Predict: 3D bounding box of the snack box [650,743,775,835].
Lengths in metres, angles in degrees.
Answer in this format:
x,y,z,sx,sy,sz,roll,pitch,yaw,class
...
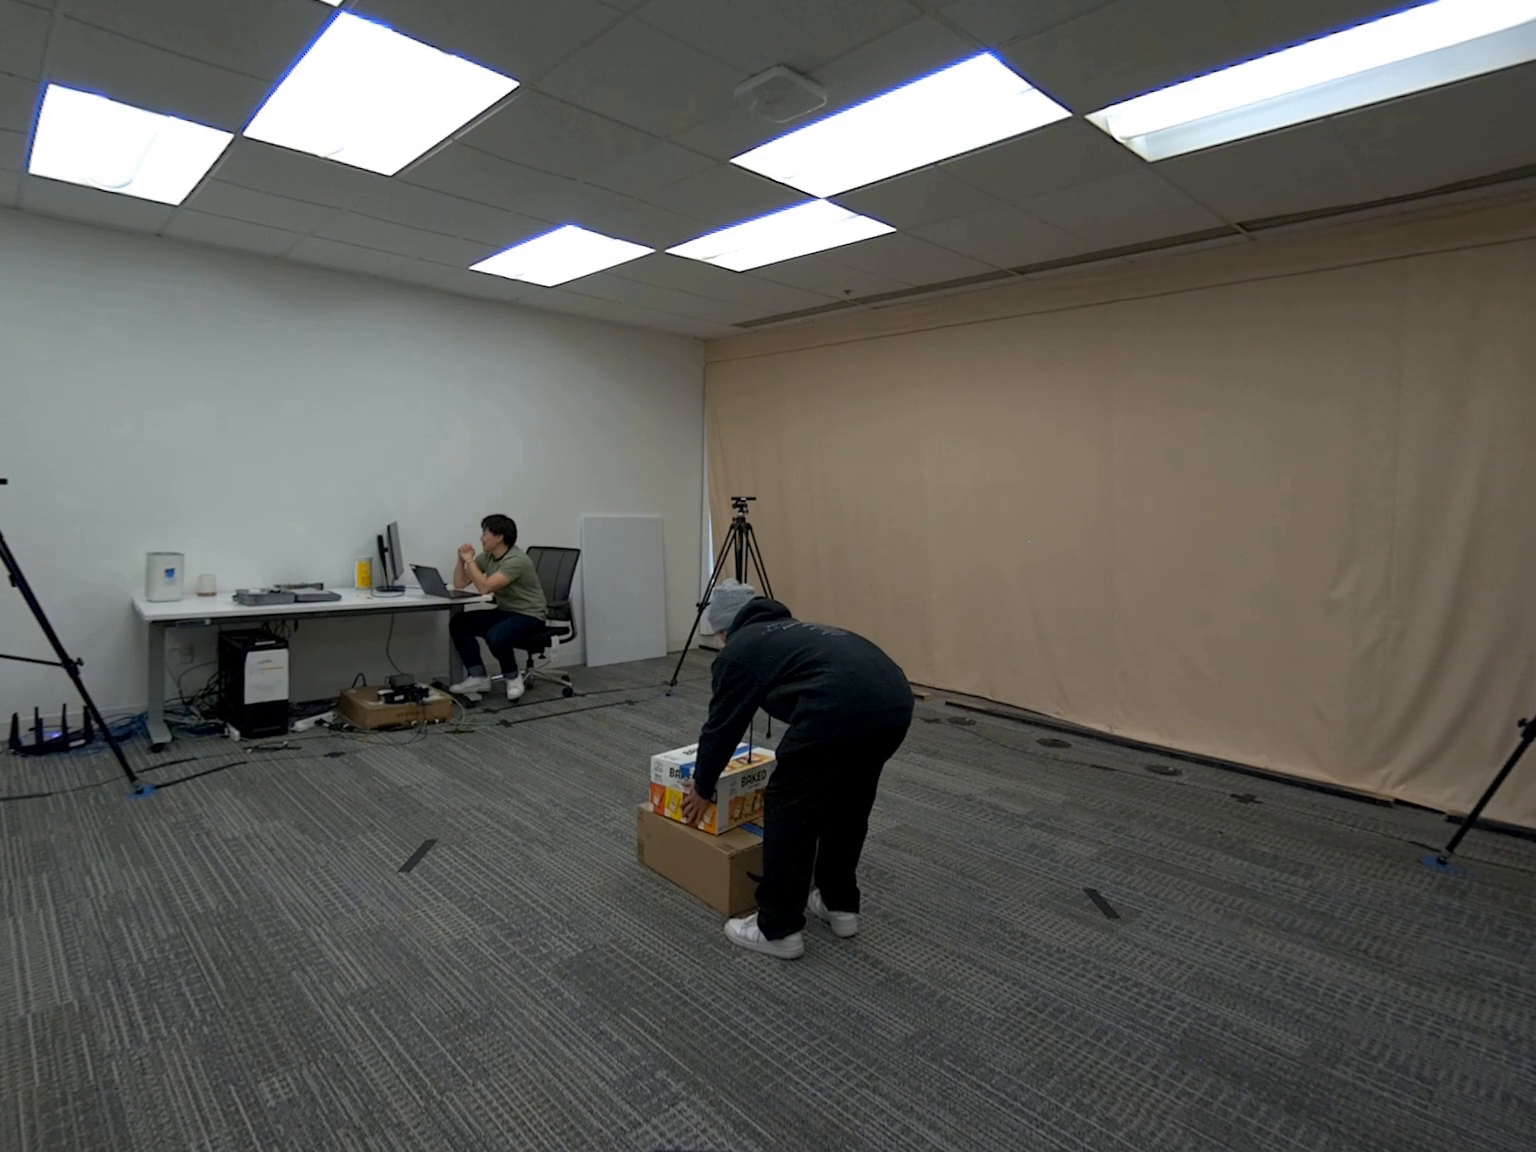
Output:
x,y,z,sx,sy,sz,roll,pitch,yaw,class
-0.189,0.778,3.175,0.349,0.205,0.396,6,6,39,snack box
